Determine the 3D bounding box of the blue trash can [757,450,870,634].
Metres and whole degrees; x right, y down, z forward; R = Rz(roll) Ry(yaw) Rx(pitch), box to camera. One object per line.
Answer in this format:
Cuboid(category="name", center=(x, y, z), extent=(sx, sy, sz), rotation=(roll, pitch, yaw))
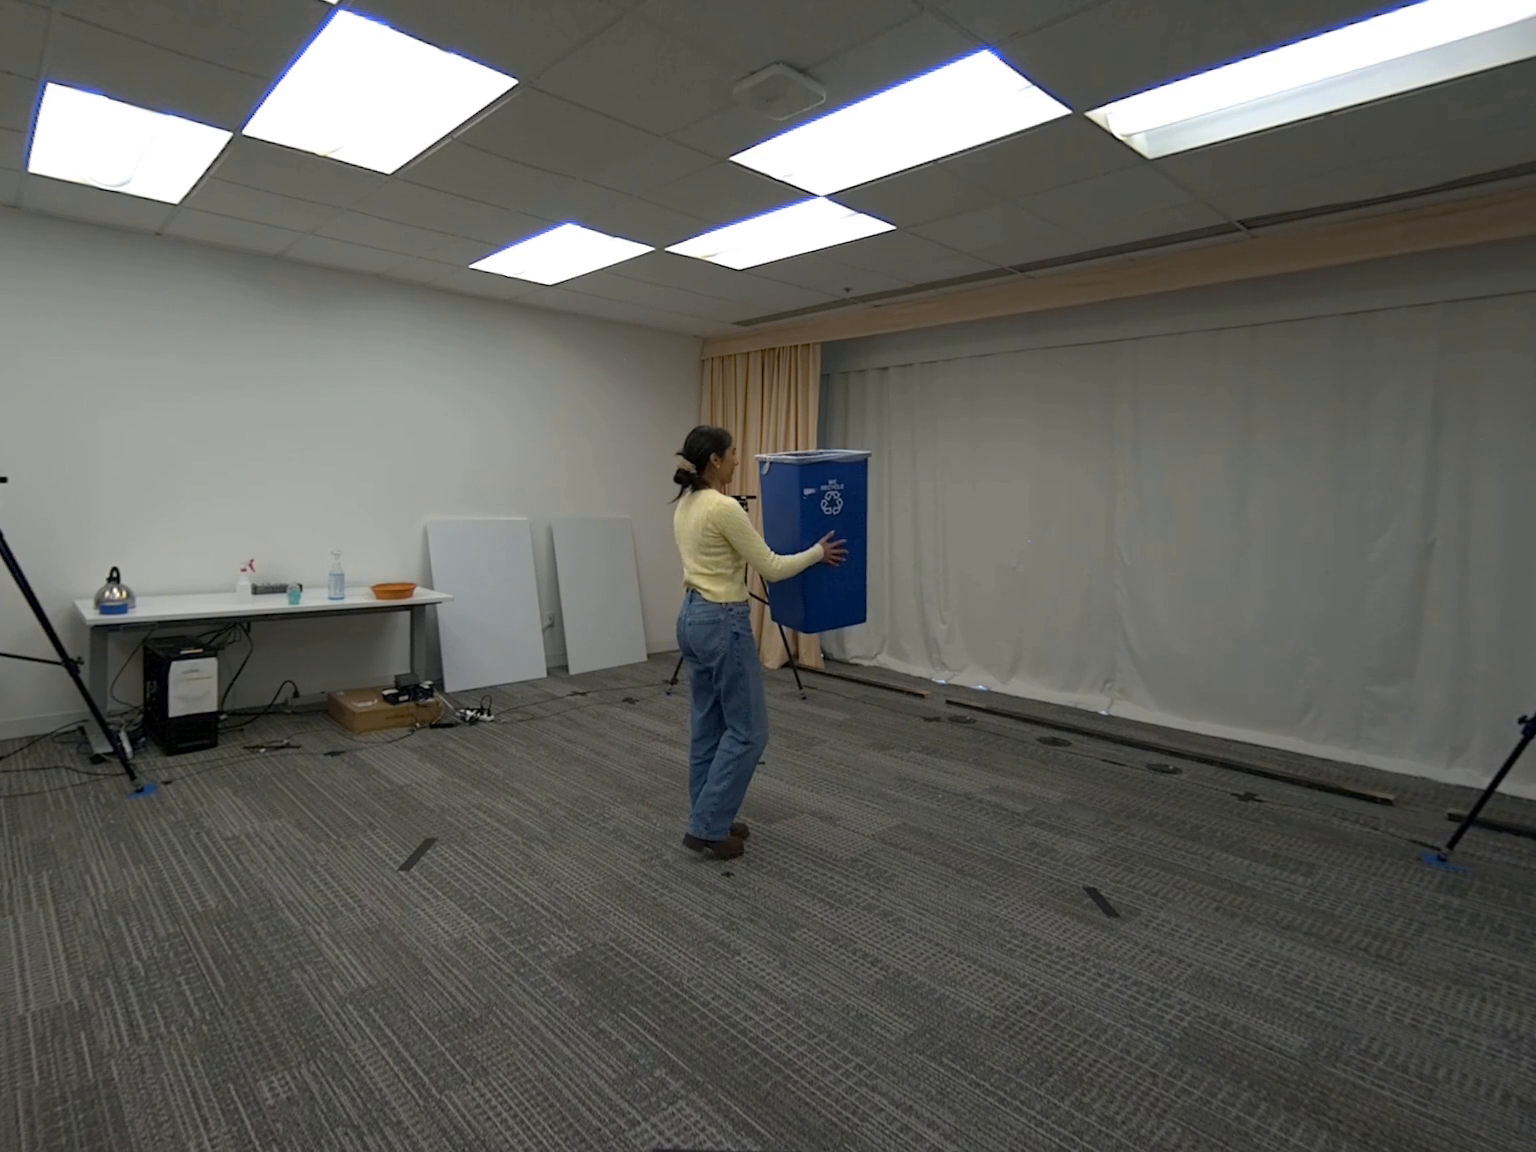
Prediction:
Cuboid(category="blue trash can", center=(0.191, -0.159, 3.519), extent=(0.368, 0.708, 0.387), rotation=(-8, 11, -28))
